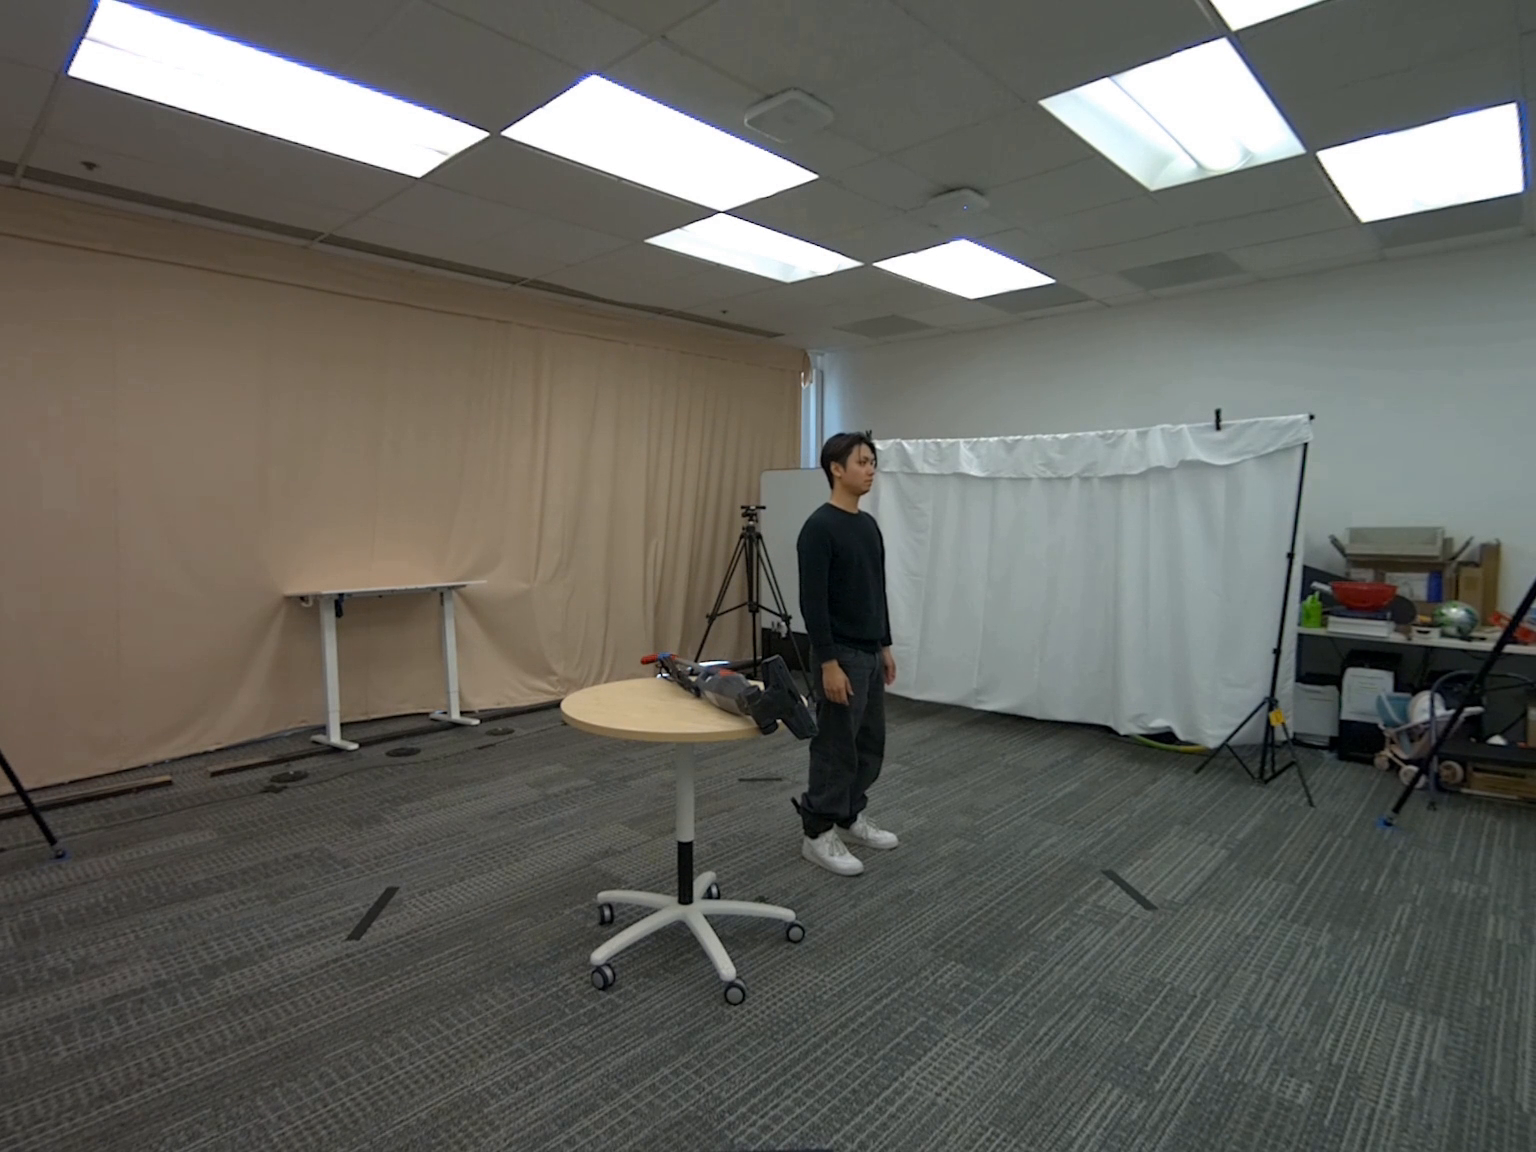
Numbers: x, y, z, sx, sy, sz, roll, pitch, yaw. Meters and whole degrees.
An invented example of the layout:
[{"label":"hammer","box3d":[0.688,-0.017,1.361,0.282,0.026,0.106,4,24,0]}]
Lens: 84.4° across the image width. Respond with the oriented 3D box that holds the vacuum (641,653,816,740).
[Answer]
[{"label":"vacuum","box3d":[-0.220,0.345,2.751,0.142,0.249,1.076,-35,16,-23]}]
